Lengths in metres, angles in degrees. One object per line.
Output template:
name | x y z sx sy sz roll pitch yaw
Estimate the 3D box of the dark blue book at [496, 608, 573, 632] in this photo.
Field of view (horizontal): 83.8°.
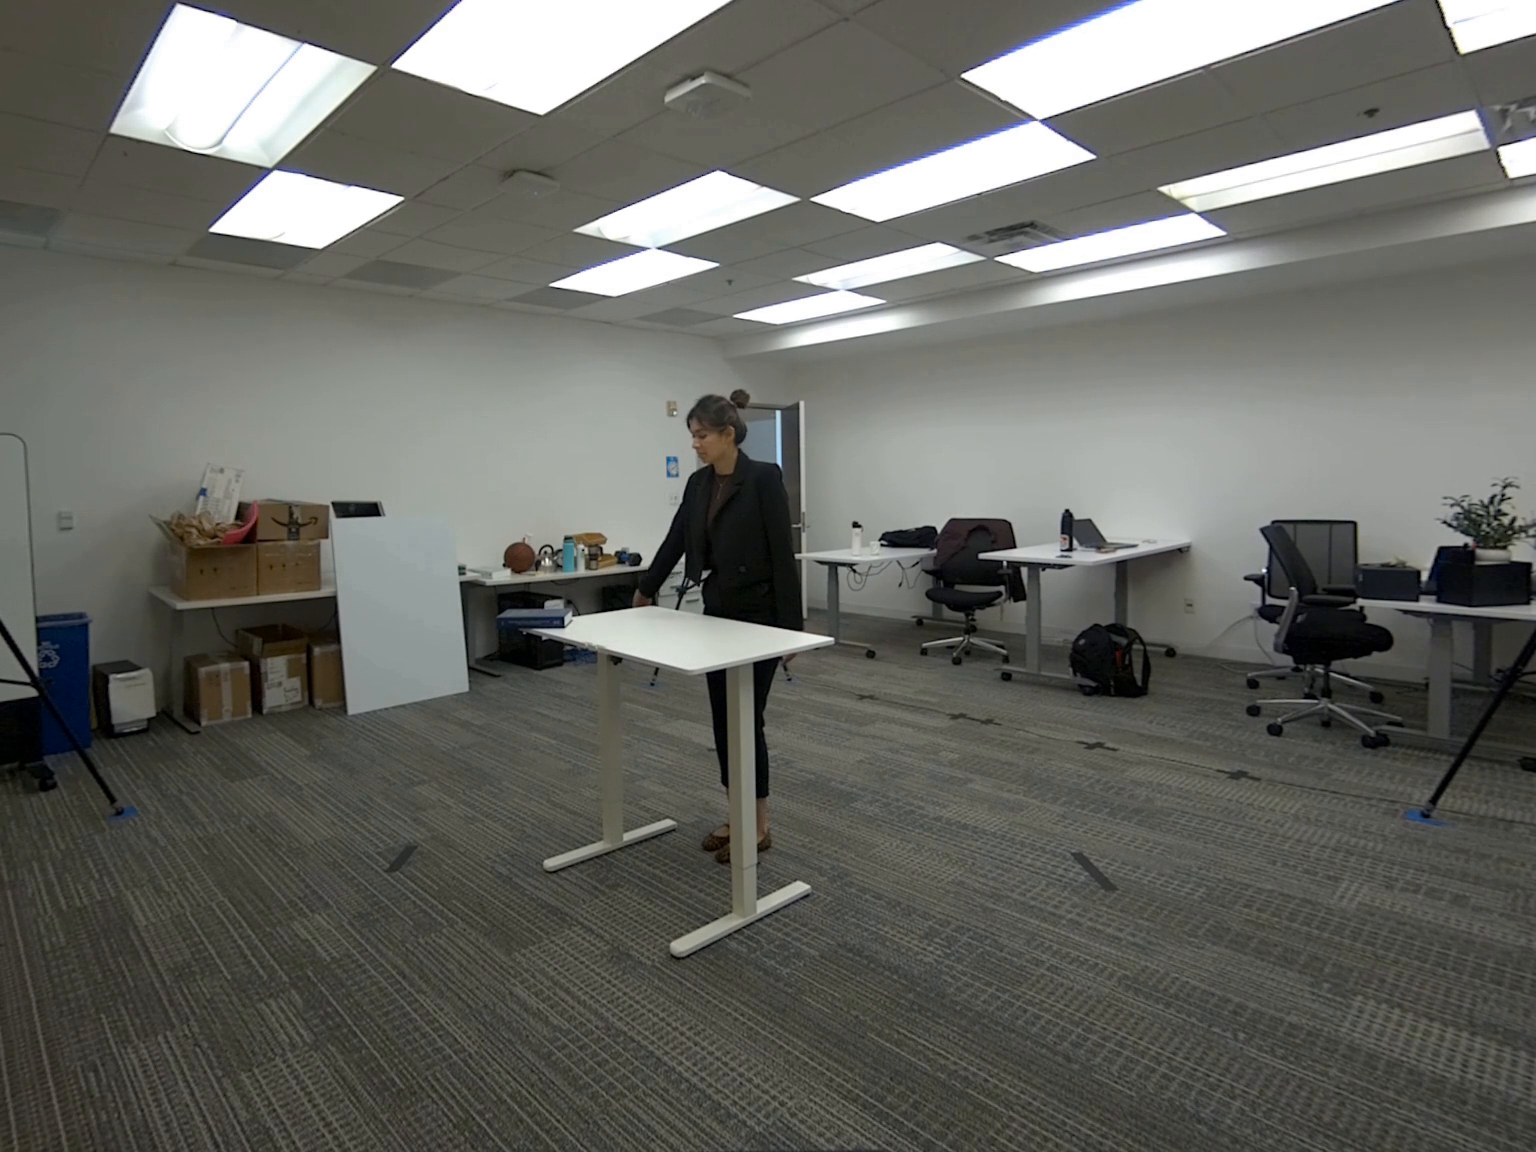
dark blue book | -0.840 0.154 3.091 0.245 0.045 0.164 -1 7 0
